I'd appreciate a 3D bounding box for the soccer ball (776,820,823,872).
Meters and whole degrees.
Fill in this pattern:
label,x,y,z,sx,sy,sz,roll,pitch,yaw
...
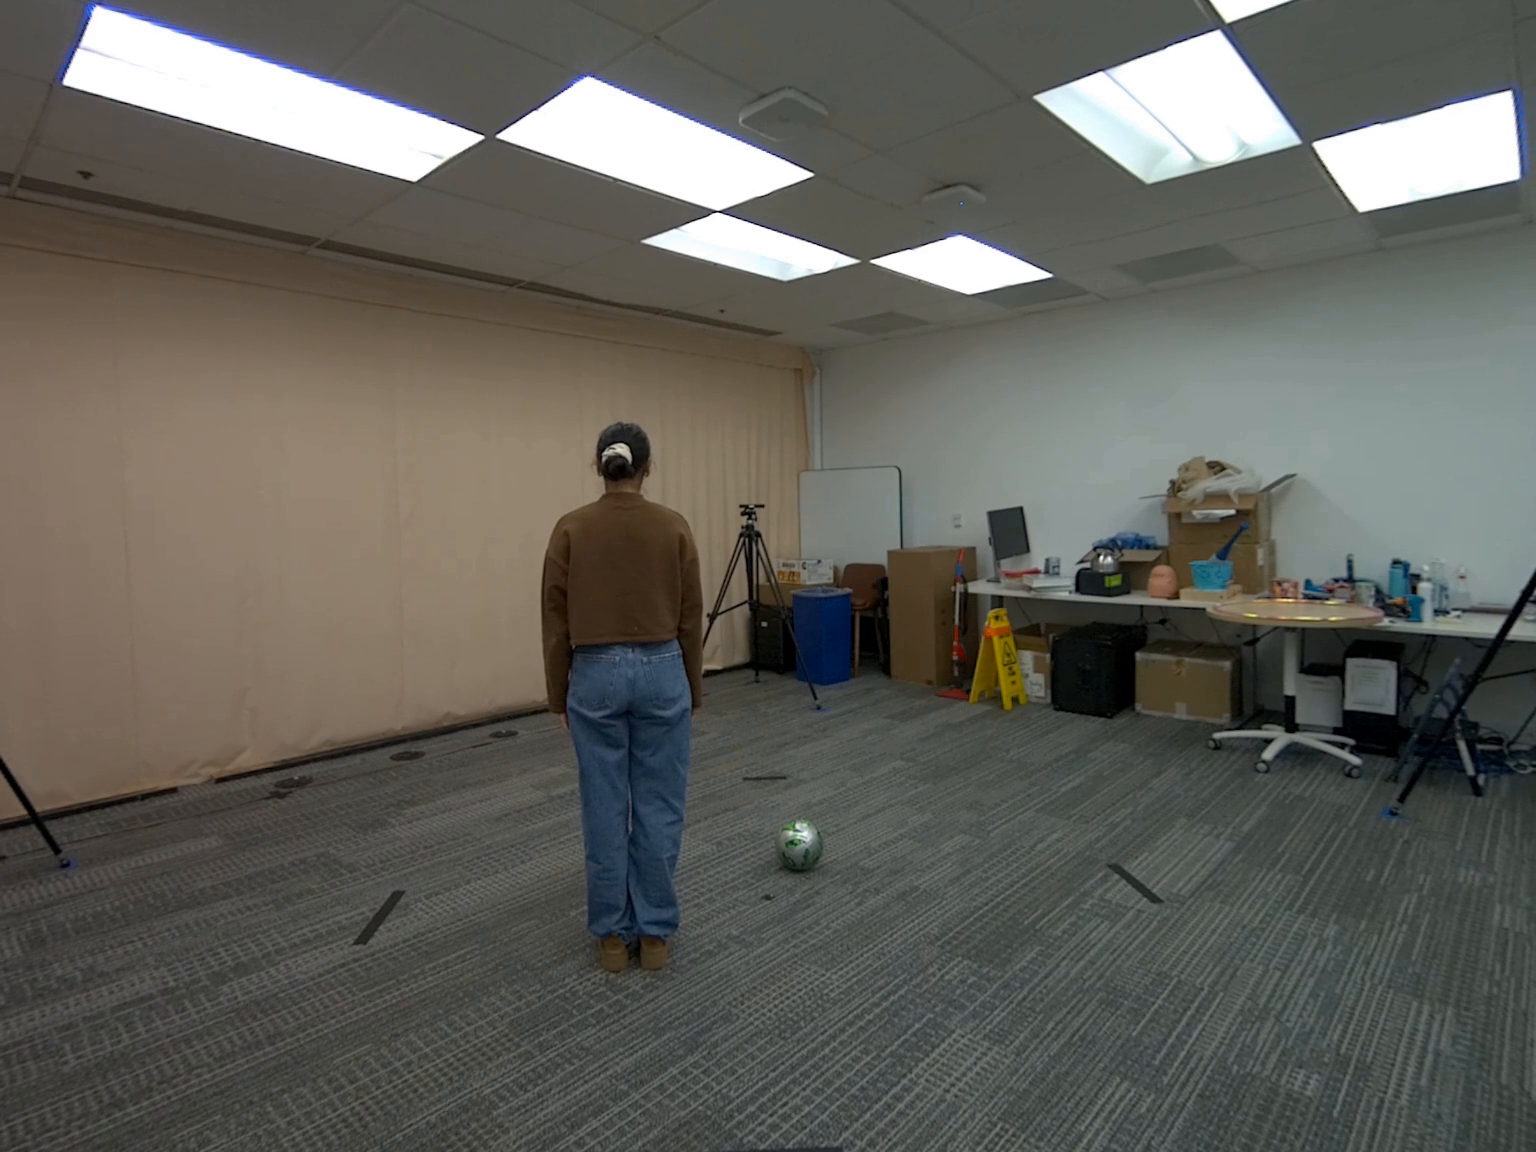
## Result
label,x,y,z,sx,sy,sz,roll,pitch,yaw
soccer ball,0.122,1.023,3.216,0.187,0.187,0.188,-1,4,-2
